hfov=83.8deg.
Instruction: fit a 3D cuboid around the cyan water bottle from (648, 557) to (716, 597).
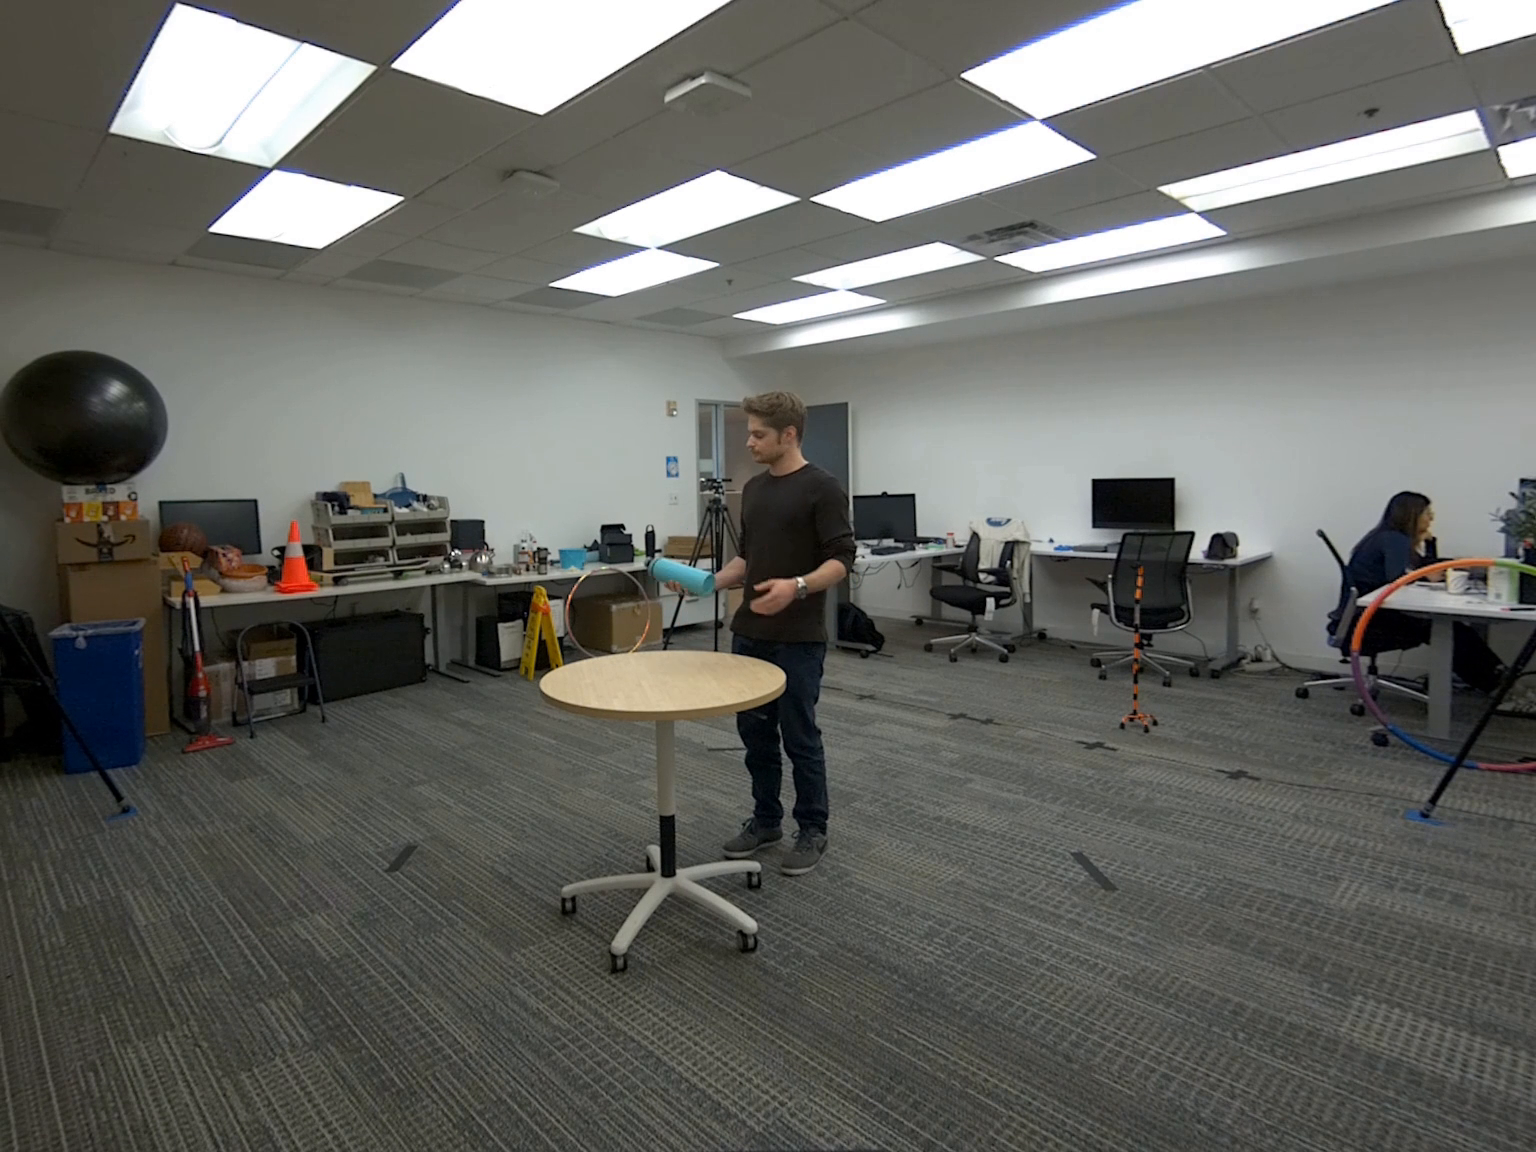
[{"bbox_3d":[-0.321,-0.012,3.138,0.292,0.091,0.090,15,12,28],"label":"cyan water bottle"}]
